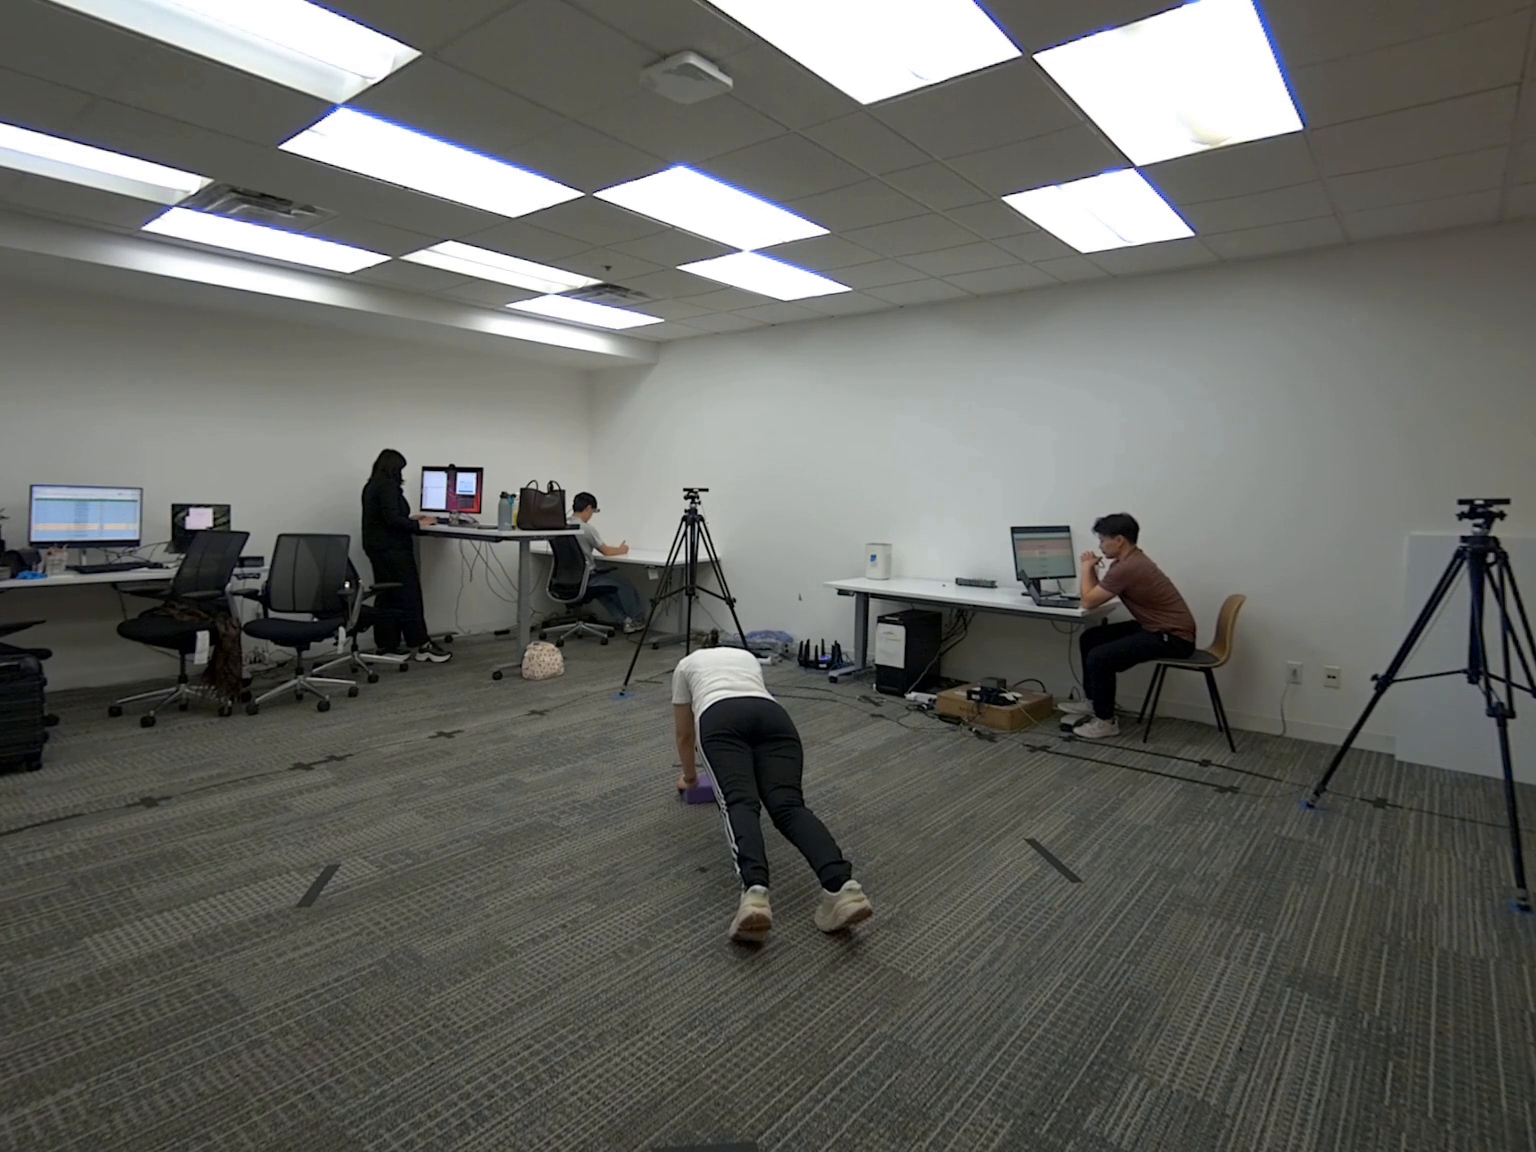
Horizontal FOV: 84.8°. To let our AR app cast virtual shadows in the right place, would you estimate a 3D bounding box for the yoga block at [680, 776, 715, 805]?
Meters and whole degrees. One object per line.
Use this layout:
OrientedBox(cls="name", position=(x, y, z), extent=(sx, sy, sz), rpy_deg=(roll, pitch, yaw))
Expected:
OrientedBox(cls="yoga block", position=(-0.277, 0.959, 3.840), extent=(0.226, 0.076, 0.152), rpy_deg=(-2, 5, -15))
